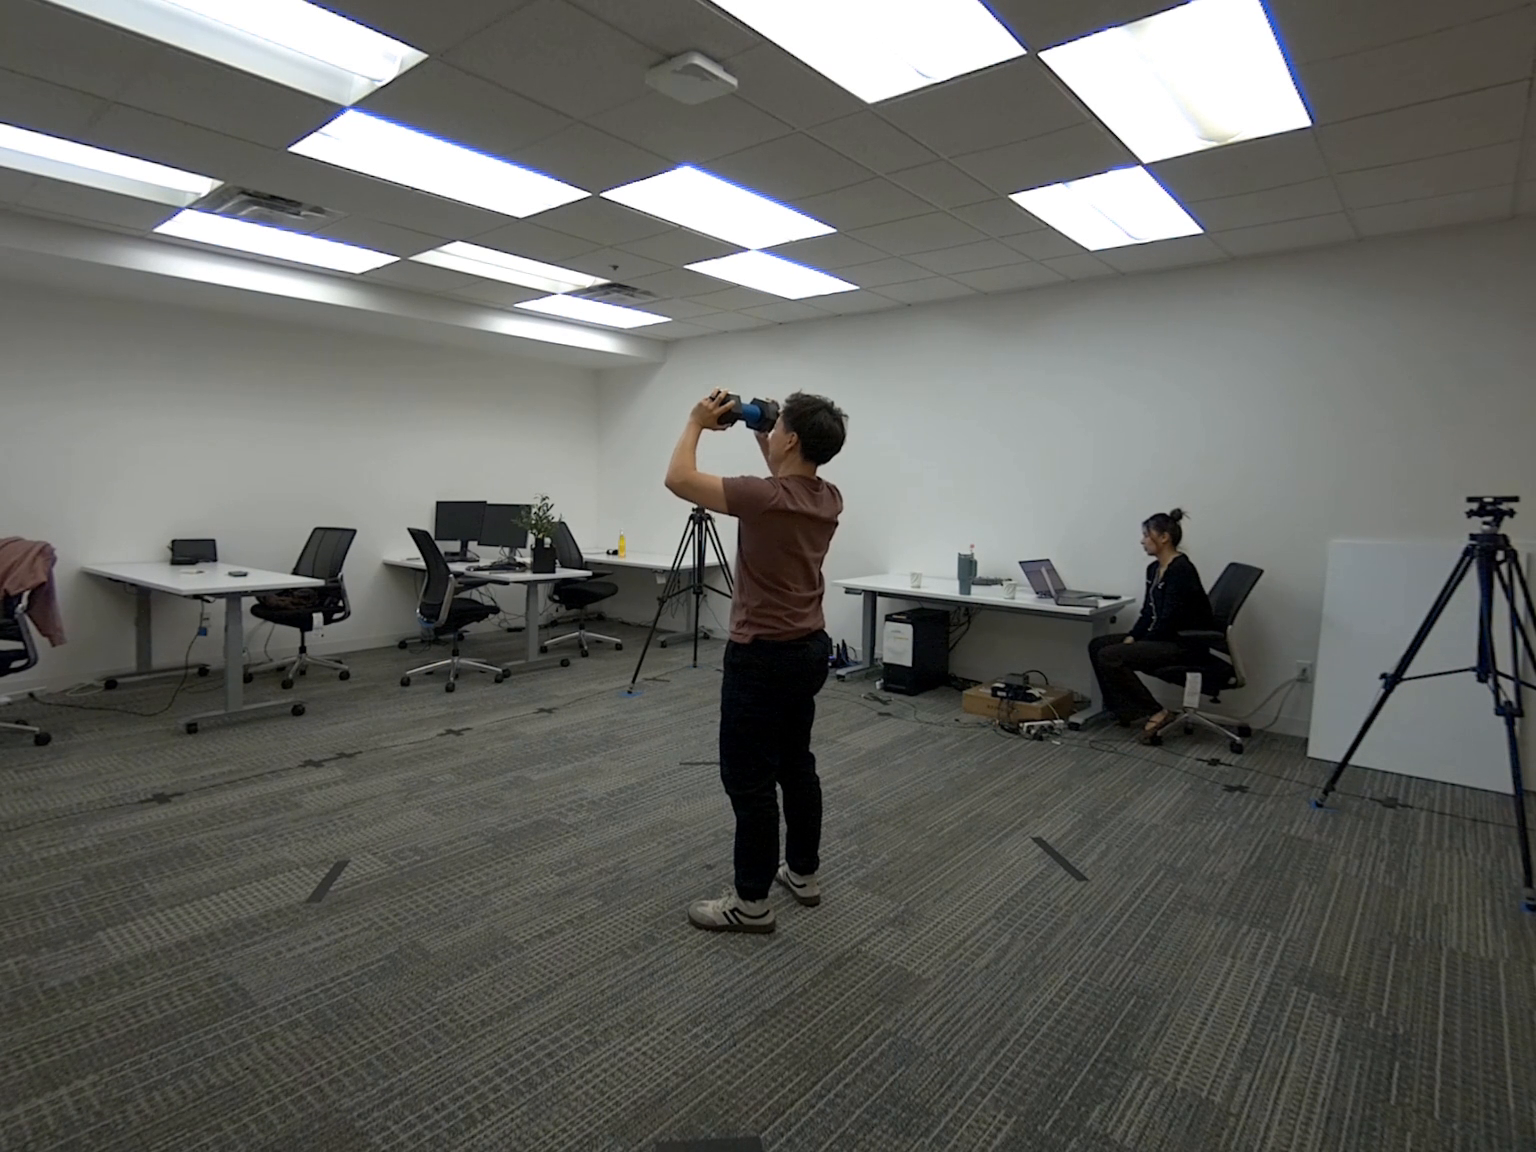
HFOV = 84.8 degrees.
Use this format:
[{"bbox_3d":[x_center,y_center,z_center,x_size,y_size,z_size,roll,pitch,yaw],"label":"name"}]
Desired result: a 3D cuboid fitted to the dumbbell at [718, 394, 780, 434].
[{"bbox_3d":[-0.090,-0.553,2.851,0.123,0.112,0.285,-45,-24,28],"label":"dumbbell"}]
